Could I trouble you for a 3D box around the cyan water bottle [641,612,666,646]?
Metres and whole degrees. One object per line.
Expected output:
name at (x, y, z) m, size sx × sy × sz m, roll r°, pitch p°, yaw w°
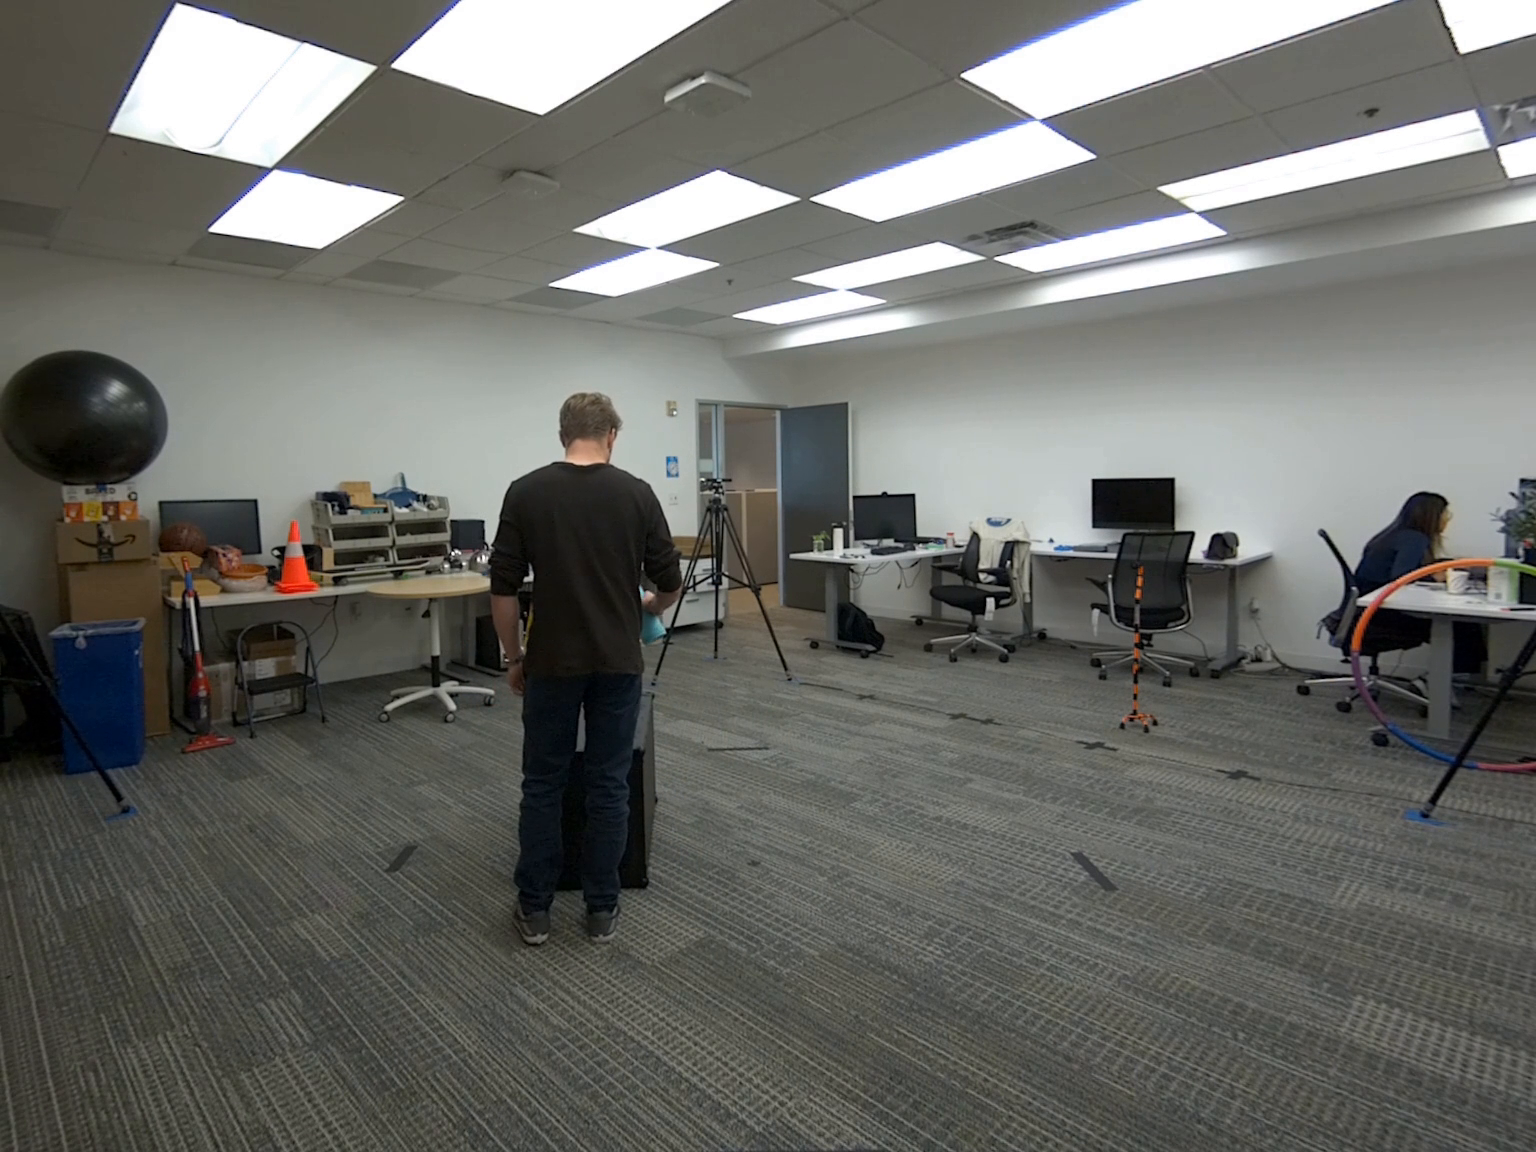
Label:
cyan water bottle at (-0.461, 0.104, 3.025) m, size 0.092 × 0.287 × 0.091 m, roll -23°, pitch -10°, yaw -5°
